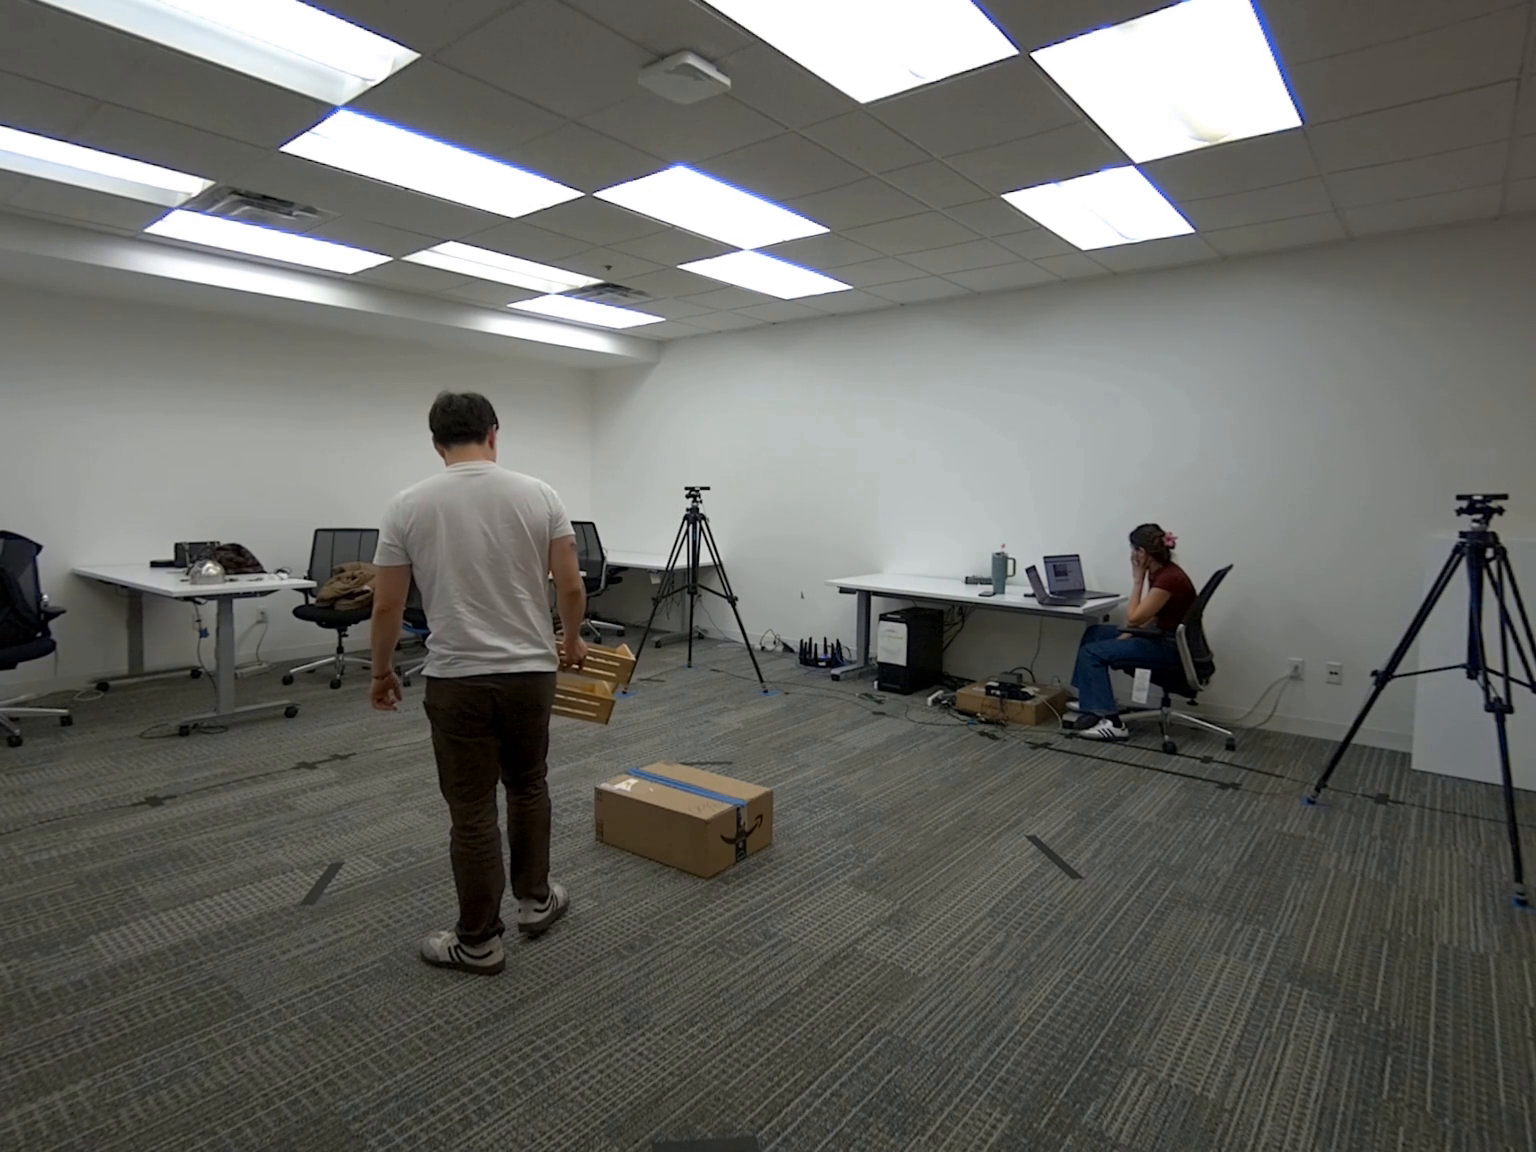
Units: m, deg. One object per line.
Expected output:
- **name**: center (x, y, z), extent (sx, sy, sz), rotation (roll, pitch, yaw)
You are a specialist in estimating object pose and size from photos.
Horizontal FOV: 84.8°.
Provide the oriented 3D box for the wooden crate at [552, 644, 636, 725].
- **wooden crate**: center (-0.667, 0.313, 2.890), extent (0.316, 0.272, 0.311), rotation (16, 11, -22)
